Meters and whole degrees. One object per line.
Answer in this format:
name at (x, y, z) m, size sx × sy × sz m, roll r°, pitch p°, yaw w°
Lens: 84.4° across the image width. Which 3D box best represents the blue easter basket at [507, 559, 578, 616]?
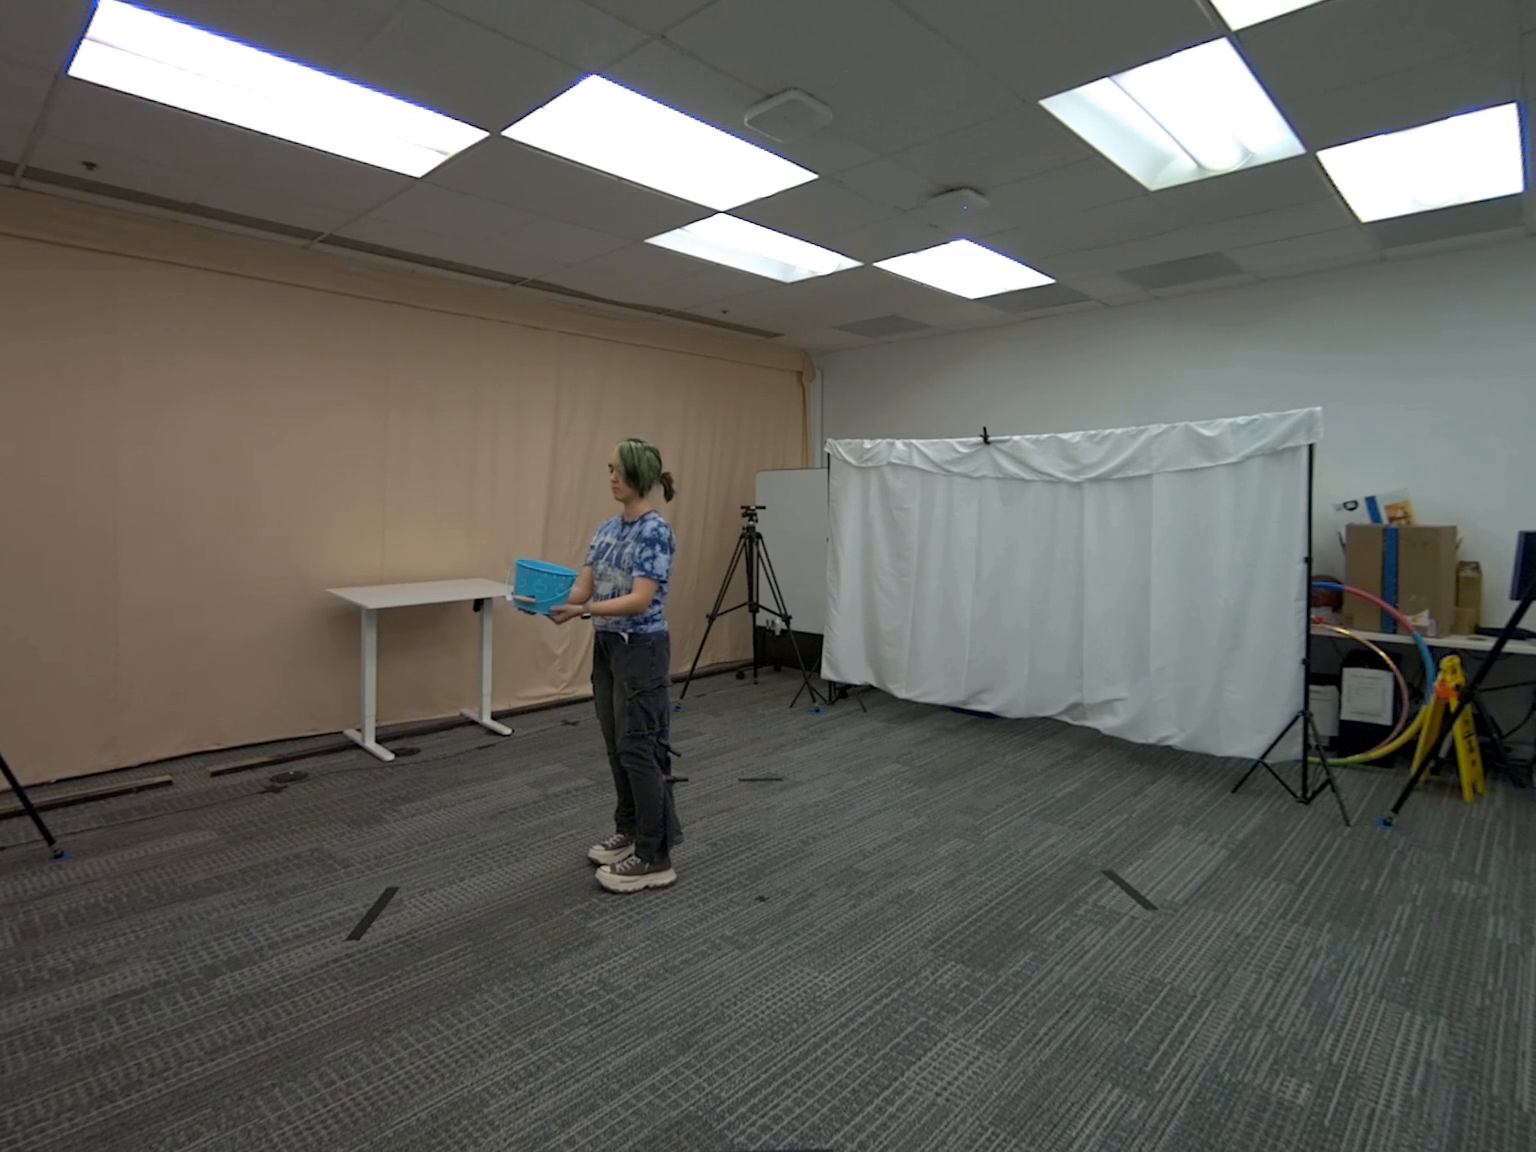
blue easter basket at (-0.806, 0.041, 3.002) m, size 0.243 × 0.156 × 0.244 m, roll 14°, pitch 3°, yaw -3°
